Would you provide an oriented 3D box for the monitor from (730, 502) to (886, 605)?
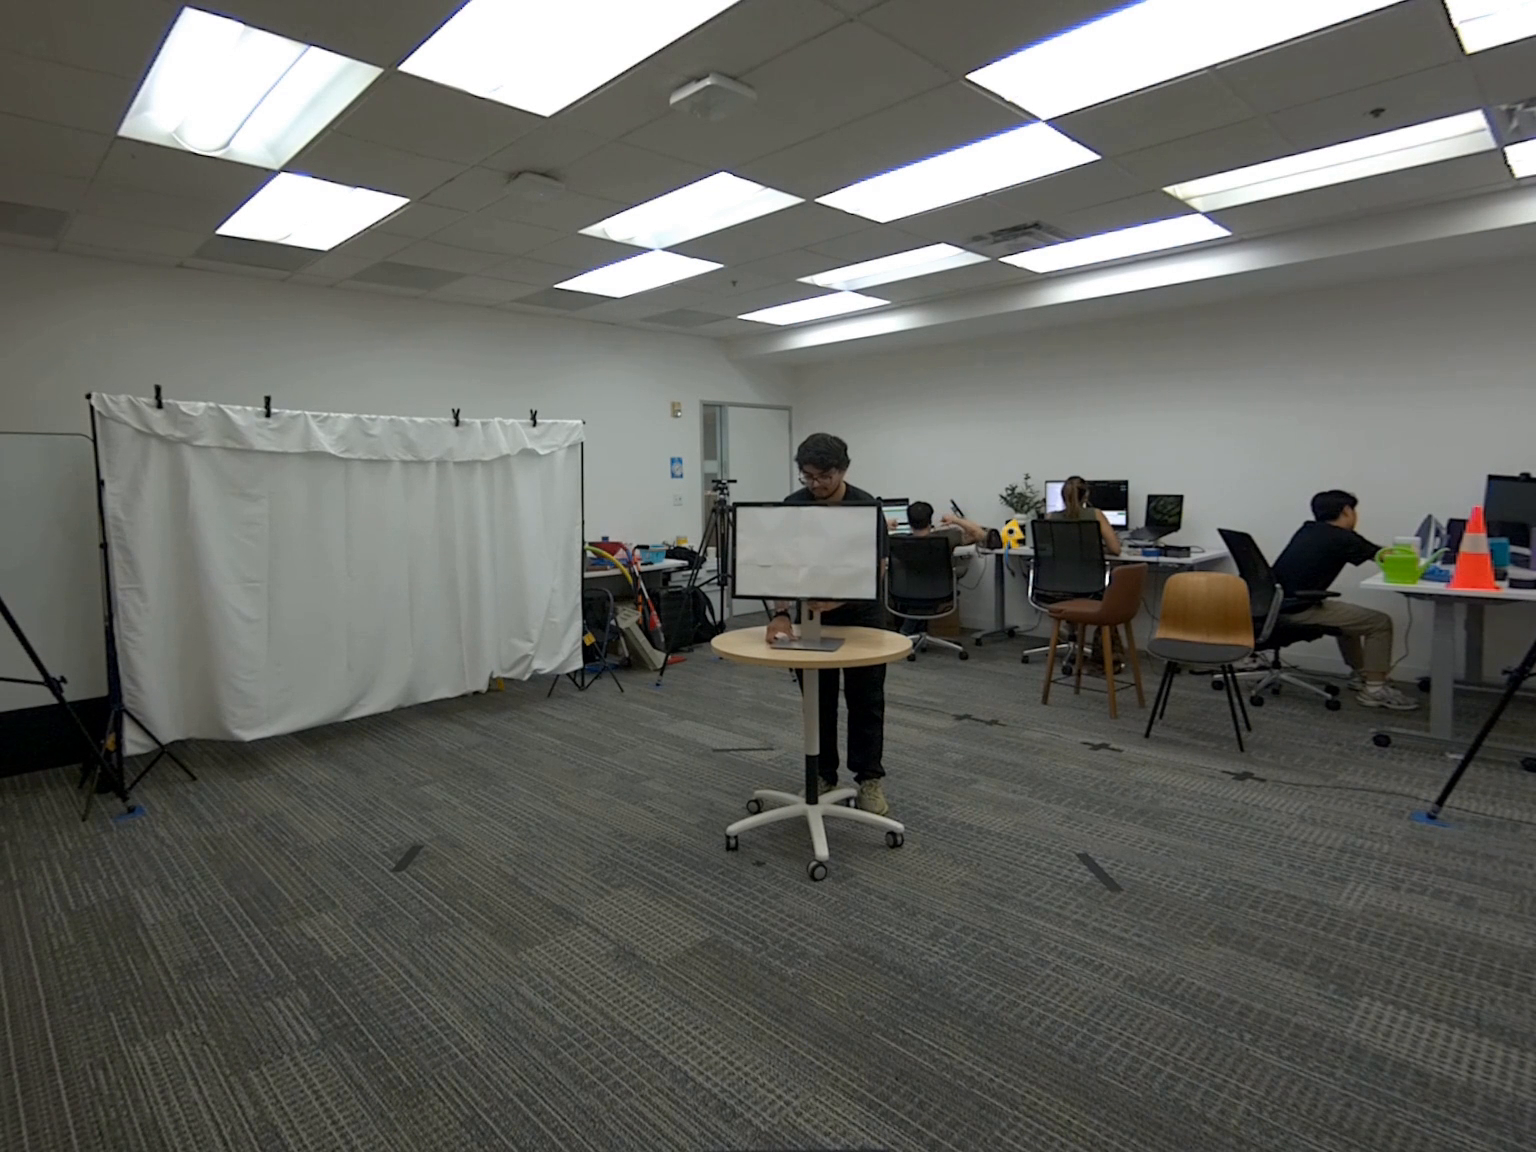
[{"bbox_3d":[0.156,-0.005,3.187,0.575,0.553,0.207,1,2,18],"label":"monitor"}]
